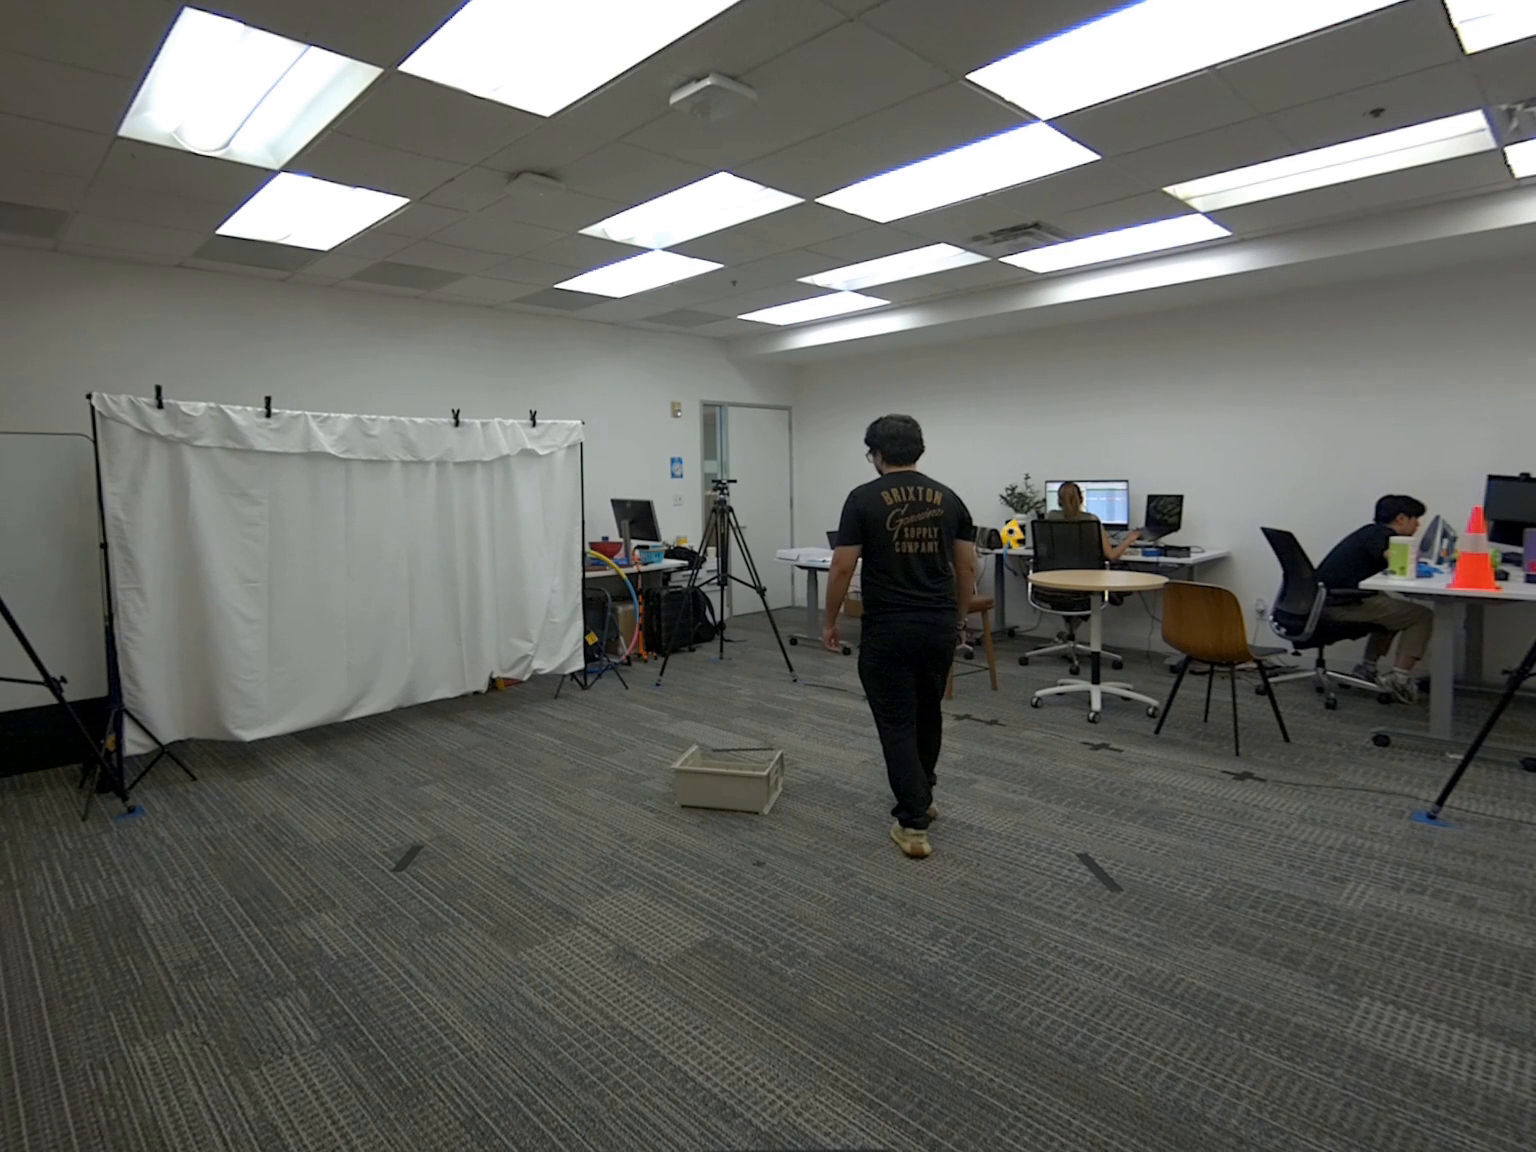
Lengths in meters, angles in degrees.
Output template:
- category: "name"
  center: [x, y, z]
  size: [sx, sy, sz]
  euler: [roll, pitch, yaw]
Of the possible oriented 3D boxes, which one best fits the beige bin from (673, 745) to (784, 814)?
- category: "beige bin"
  center: [-0.168, 0.886, 3.782]
  size: [0.429, 0.188, 0.374]
  euler: [1, 7, 15]
